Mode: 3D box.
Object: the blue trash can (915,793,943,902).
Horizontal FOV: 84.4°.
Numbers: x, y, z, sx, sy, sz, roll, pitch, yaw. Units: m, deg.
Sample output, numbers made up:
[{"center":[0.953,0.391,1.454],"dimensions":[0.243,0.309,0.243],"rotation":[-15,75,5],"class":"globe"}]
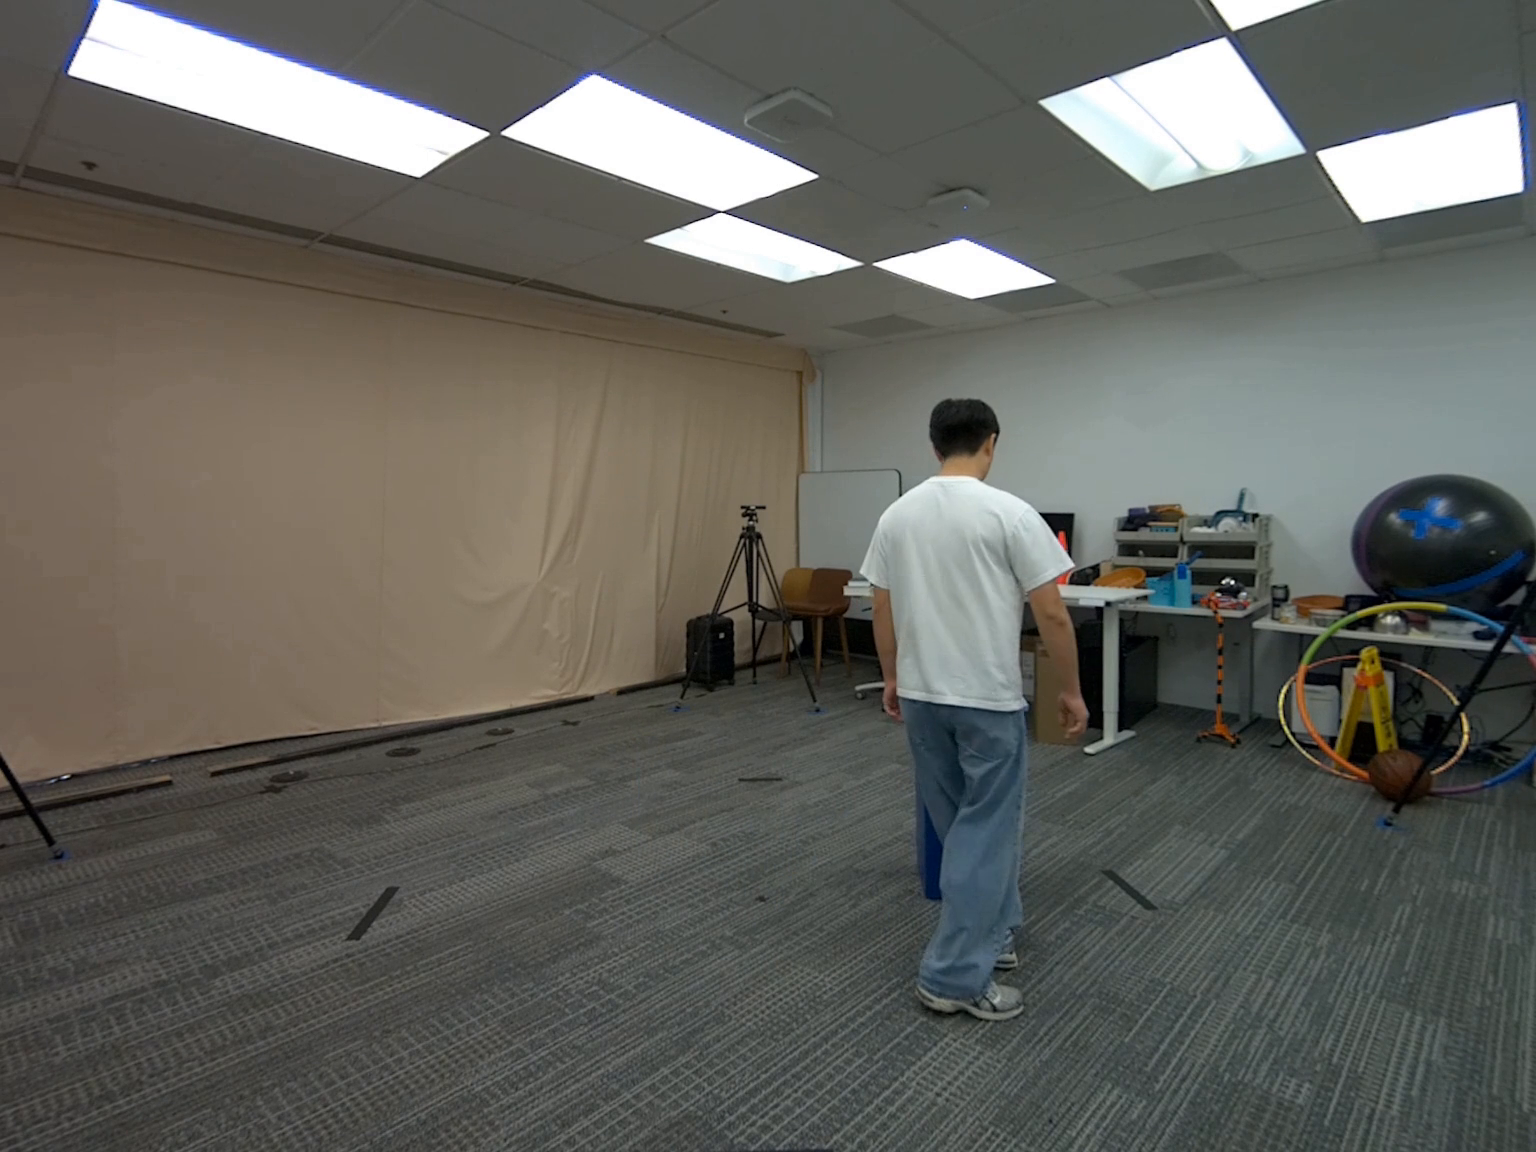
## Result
[{"center":[0.730,0.776,3.071],"dimensions":[0.381,0.712,0.372],"rotation":[0,2,5],"class":"blue trash can"}]
